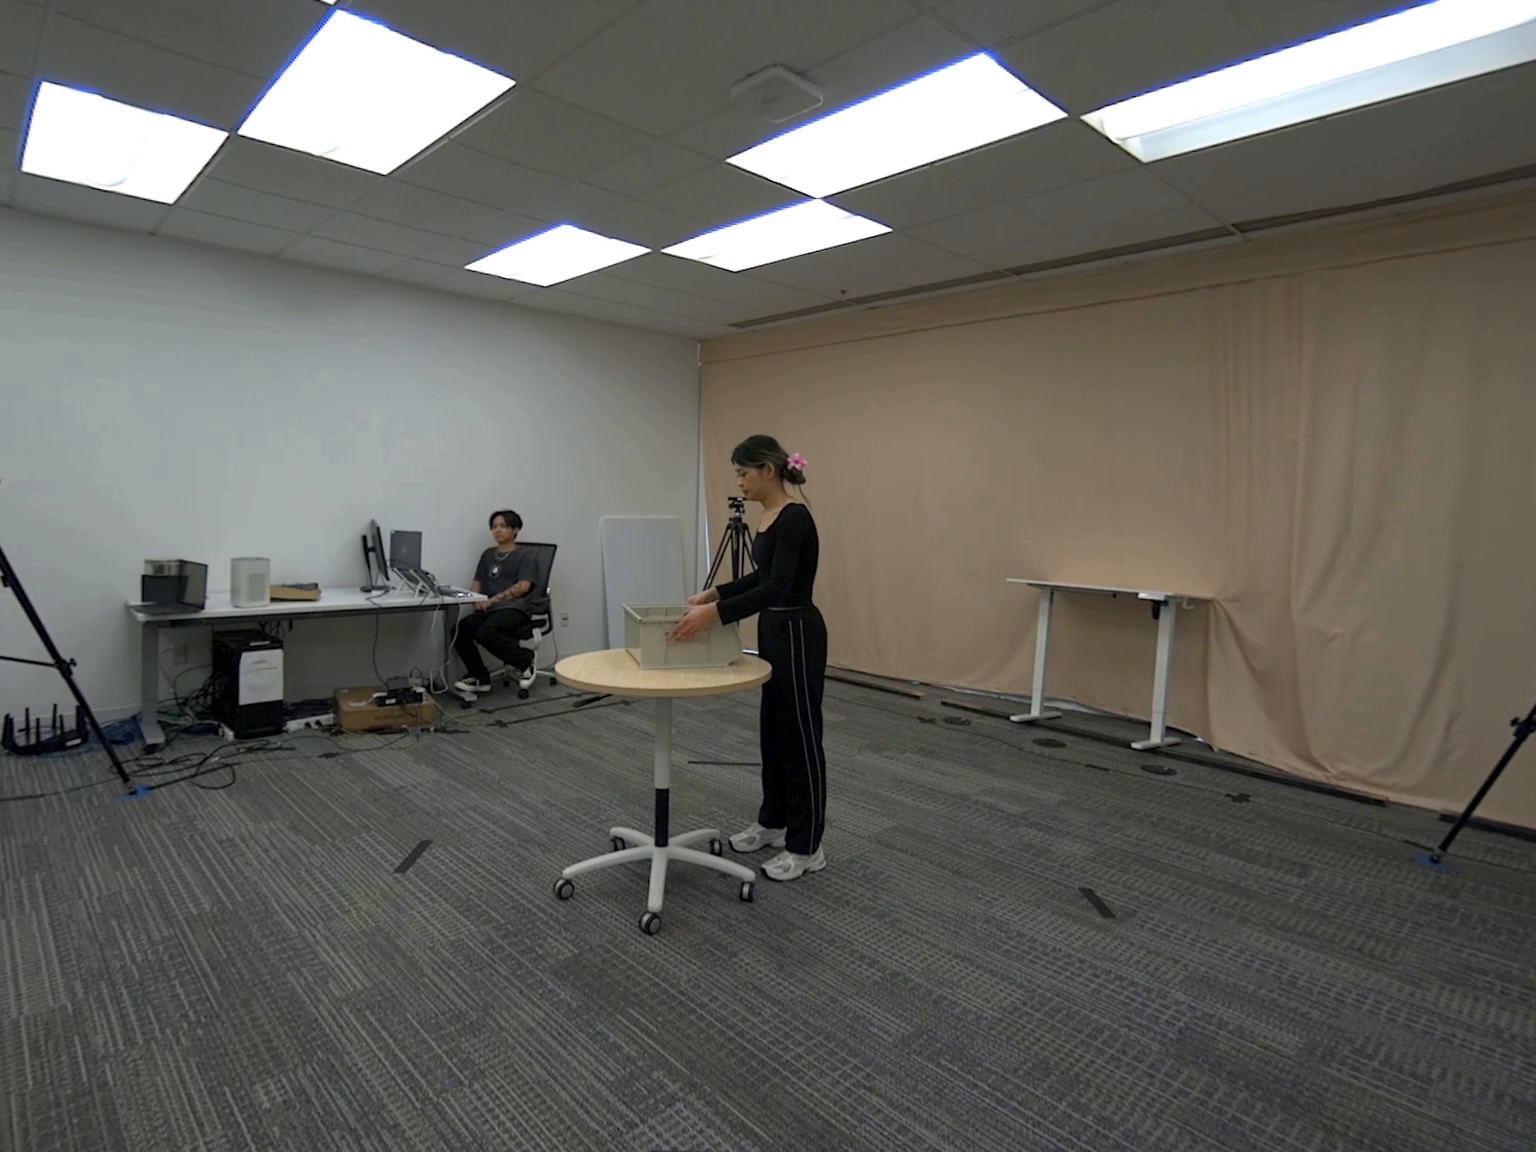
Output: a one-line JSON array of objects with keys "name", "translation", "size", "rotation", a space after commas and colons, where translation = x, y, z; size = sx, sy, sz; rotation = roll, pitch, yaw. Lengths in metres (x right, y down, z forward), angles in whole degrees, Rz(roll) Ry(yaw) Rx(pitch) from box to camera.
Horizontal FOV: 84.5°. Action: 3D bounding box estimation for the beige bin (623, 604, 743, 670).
[{"name": "beige bin", "translation": [-0.336, 0.211, 3.146], "size": [0.373, 0.188, 0.429], "rotation": [-3, 6, -17]}]
